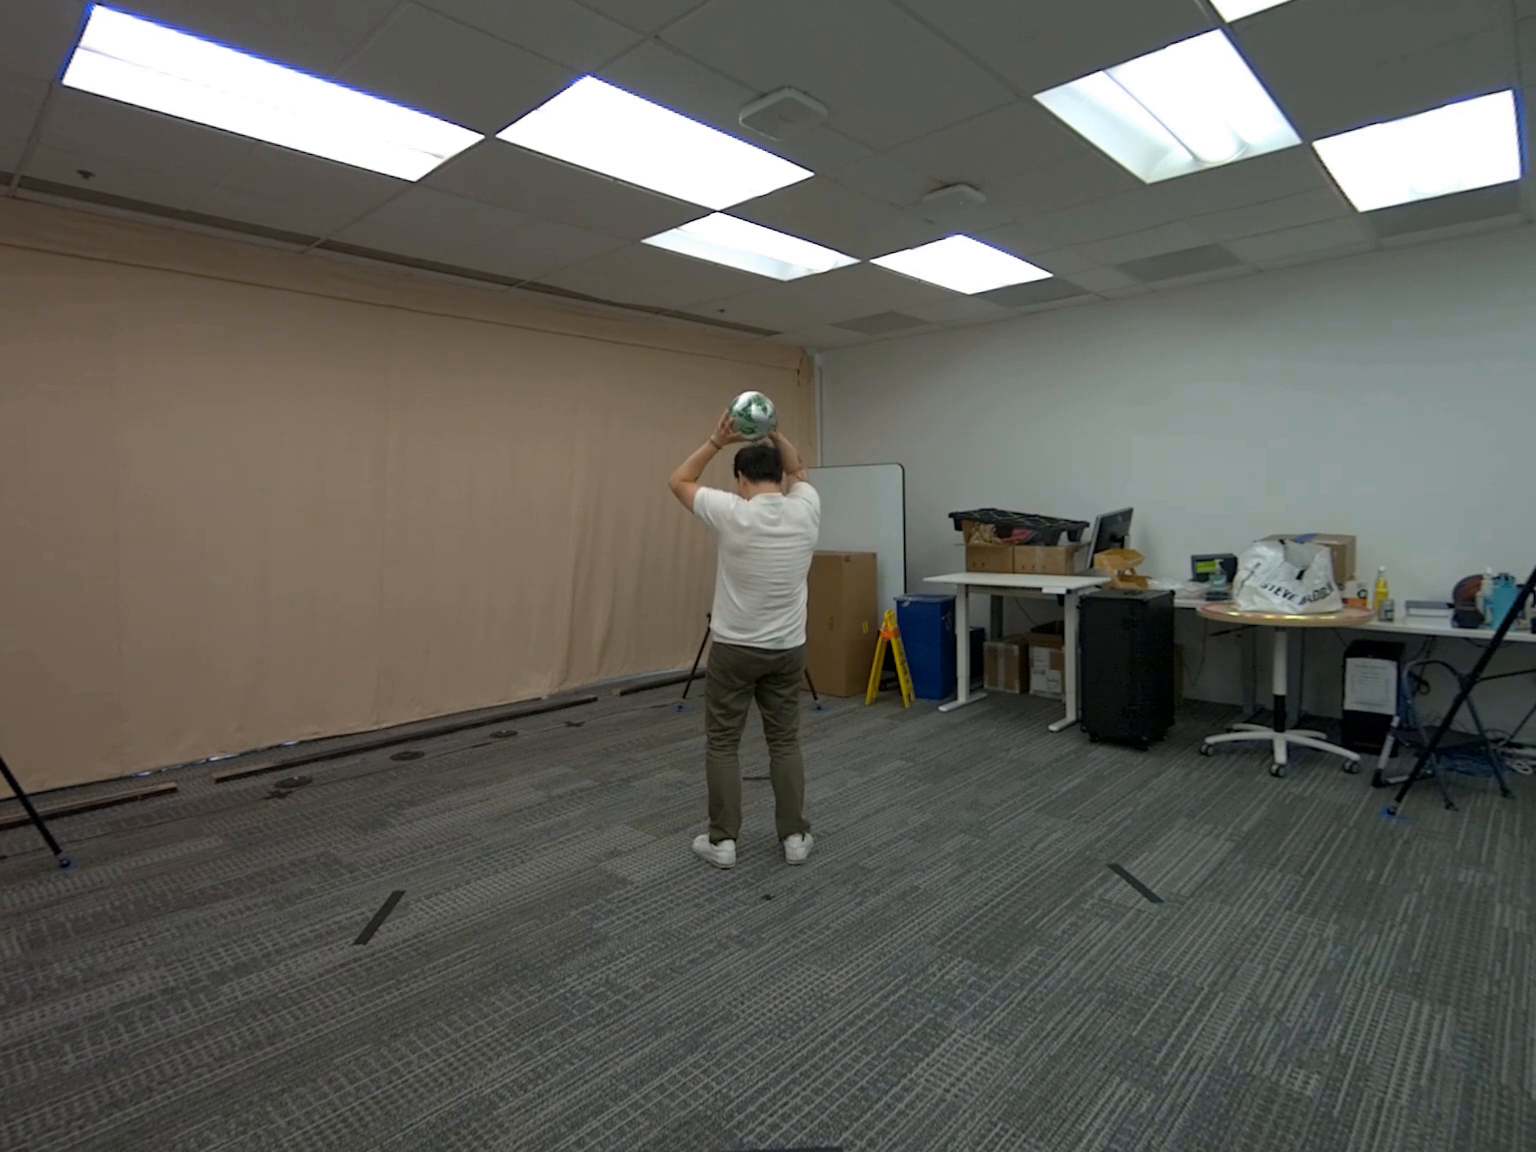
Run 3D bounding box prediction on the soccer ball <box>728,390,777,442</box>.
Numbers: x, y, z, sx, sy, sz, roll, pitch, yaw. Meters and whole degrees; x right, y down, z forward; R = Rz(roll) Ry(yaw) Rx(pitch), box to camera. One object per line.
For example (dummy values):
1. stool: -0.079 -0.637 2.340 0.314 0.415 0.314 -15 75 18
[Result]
1. soccer ball: -0.062 -0.601 3.173 0.187 0.187 0.188 -1 4 -2
